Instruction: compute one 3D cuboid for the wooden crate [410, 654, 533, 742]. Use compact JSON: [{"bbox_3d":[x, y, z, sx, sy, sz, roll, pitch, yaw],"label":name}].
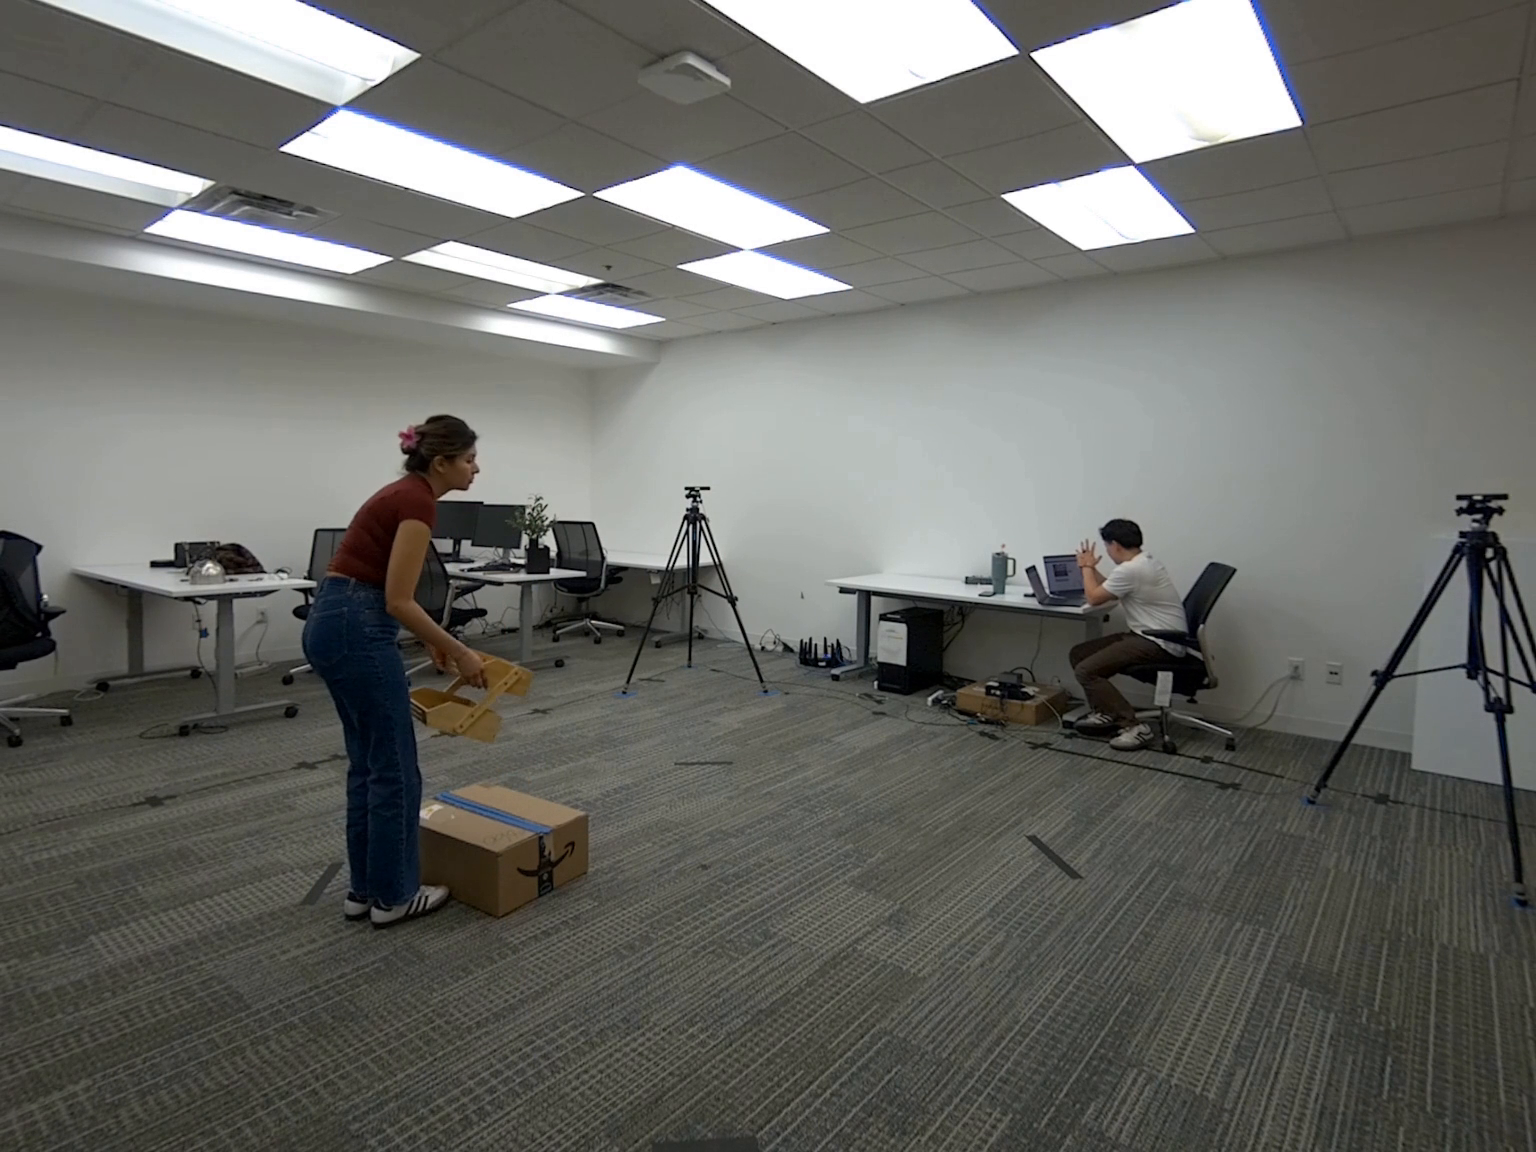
[{"bbox_3d":[-1.053,0.387,2.893,0.291,0.275,0.335,26,-12,-34],"label":"wooden crate"}]
